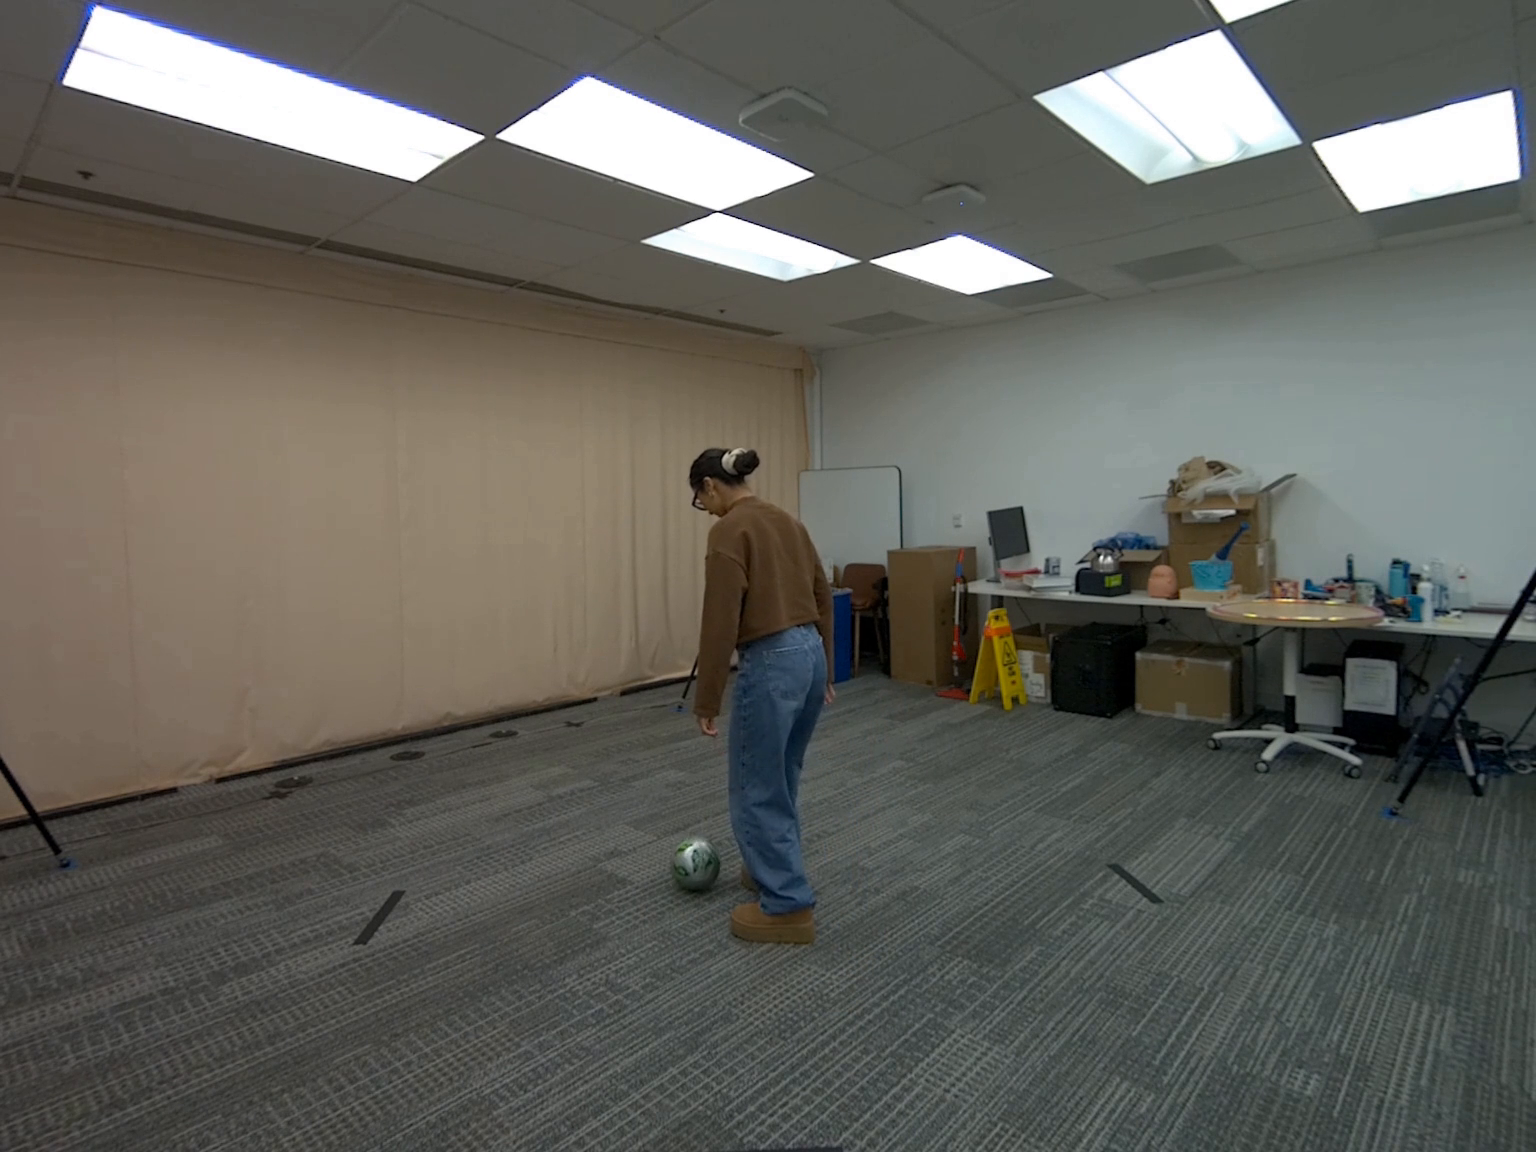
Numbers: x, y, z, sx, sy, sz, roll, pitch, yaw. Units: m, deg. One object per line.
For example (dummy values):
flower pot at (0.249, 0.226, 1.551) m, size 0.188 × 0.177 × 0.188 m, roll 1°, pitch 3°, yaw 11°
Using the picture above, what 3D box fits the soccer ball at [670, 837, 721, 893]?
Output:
soccer ball at (-0.262, 1.047, 3.065) m, size 0.187 × 0.187 × 0.188 m, roll -1°, pitch 4°, yaw -2°
